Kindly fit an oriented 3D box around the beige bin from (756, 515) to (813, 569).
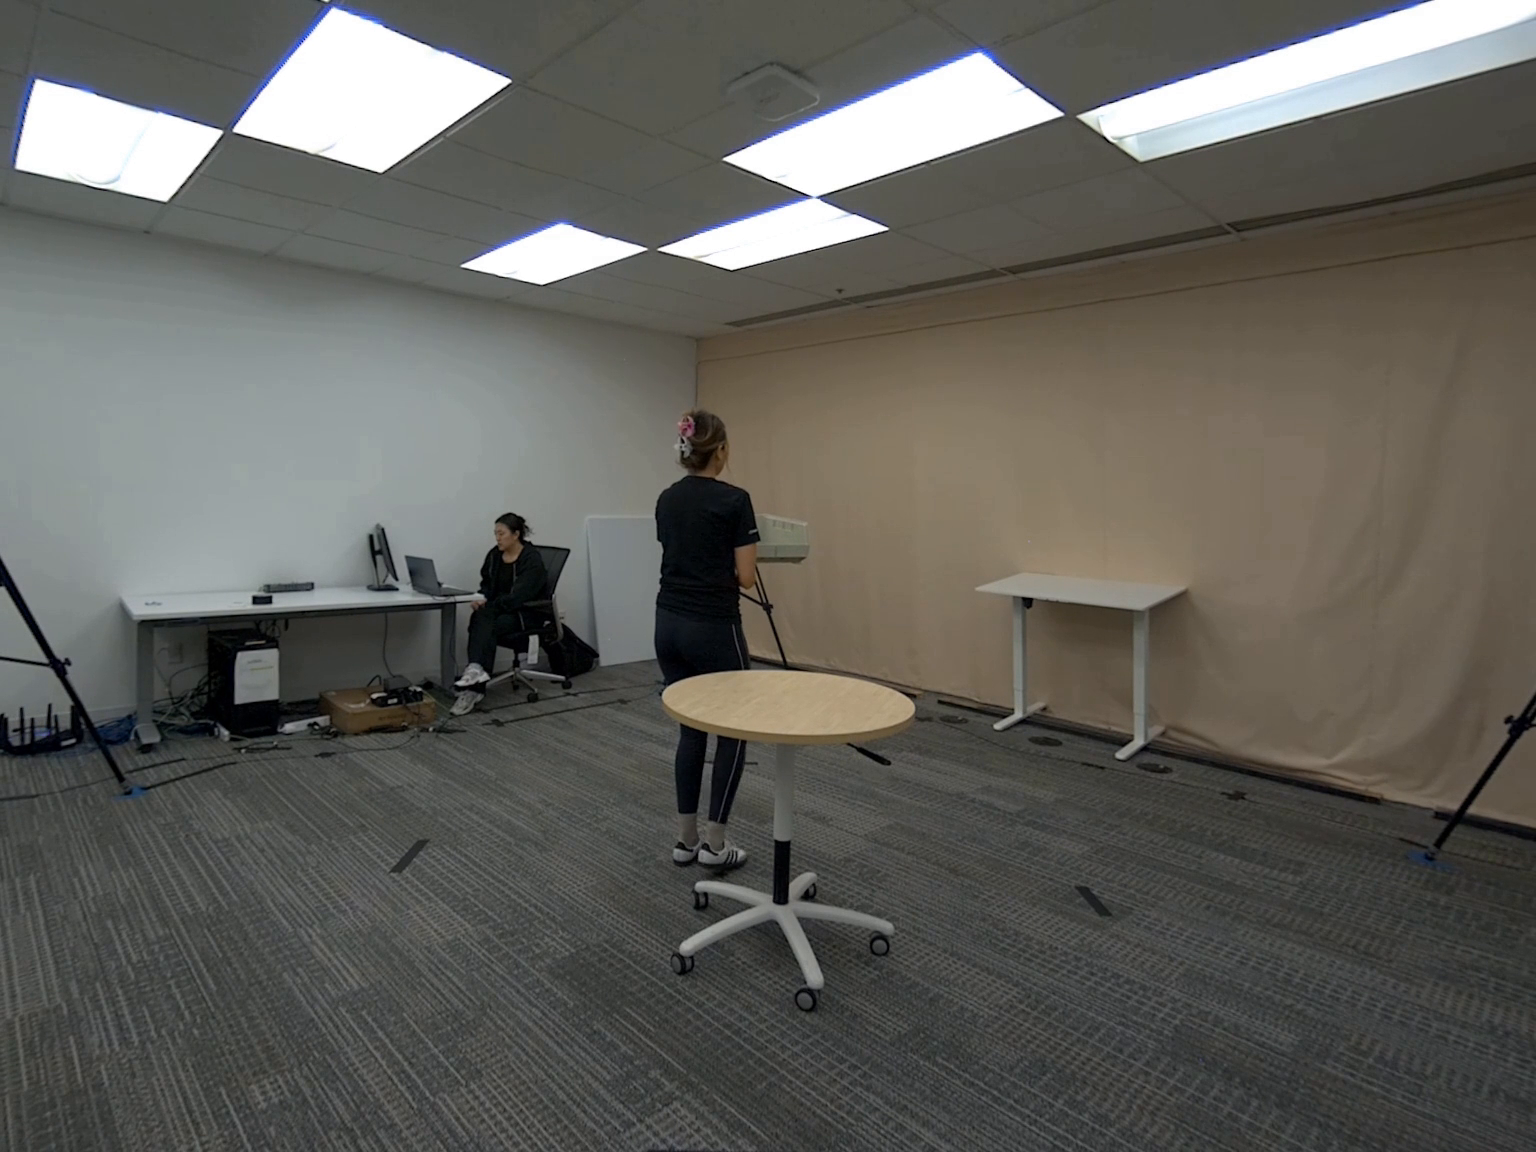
[{"bbox_3d":[-0.099,-0.154,3.575,0.414,0.188,0.386,-1,8,-28],"label":"beige bin"}]
